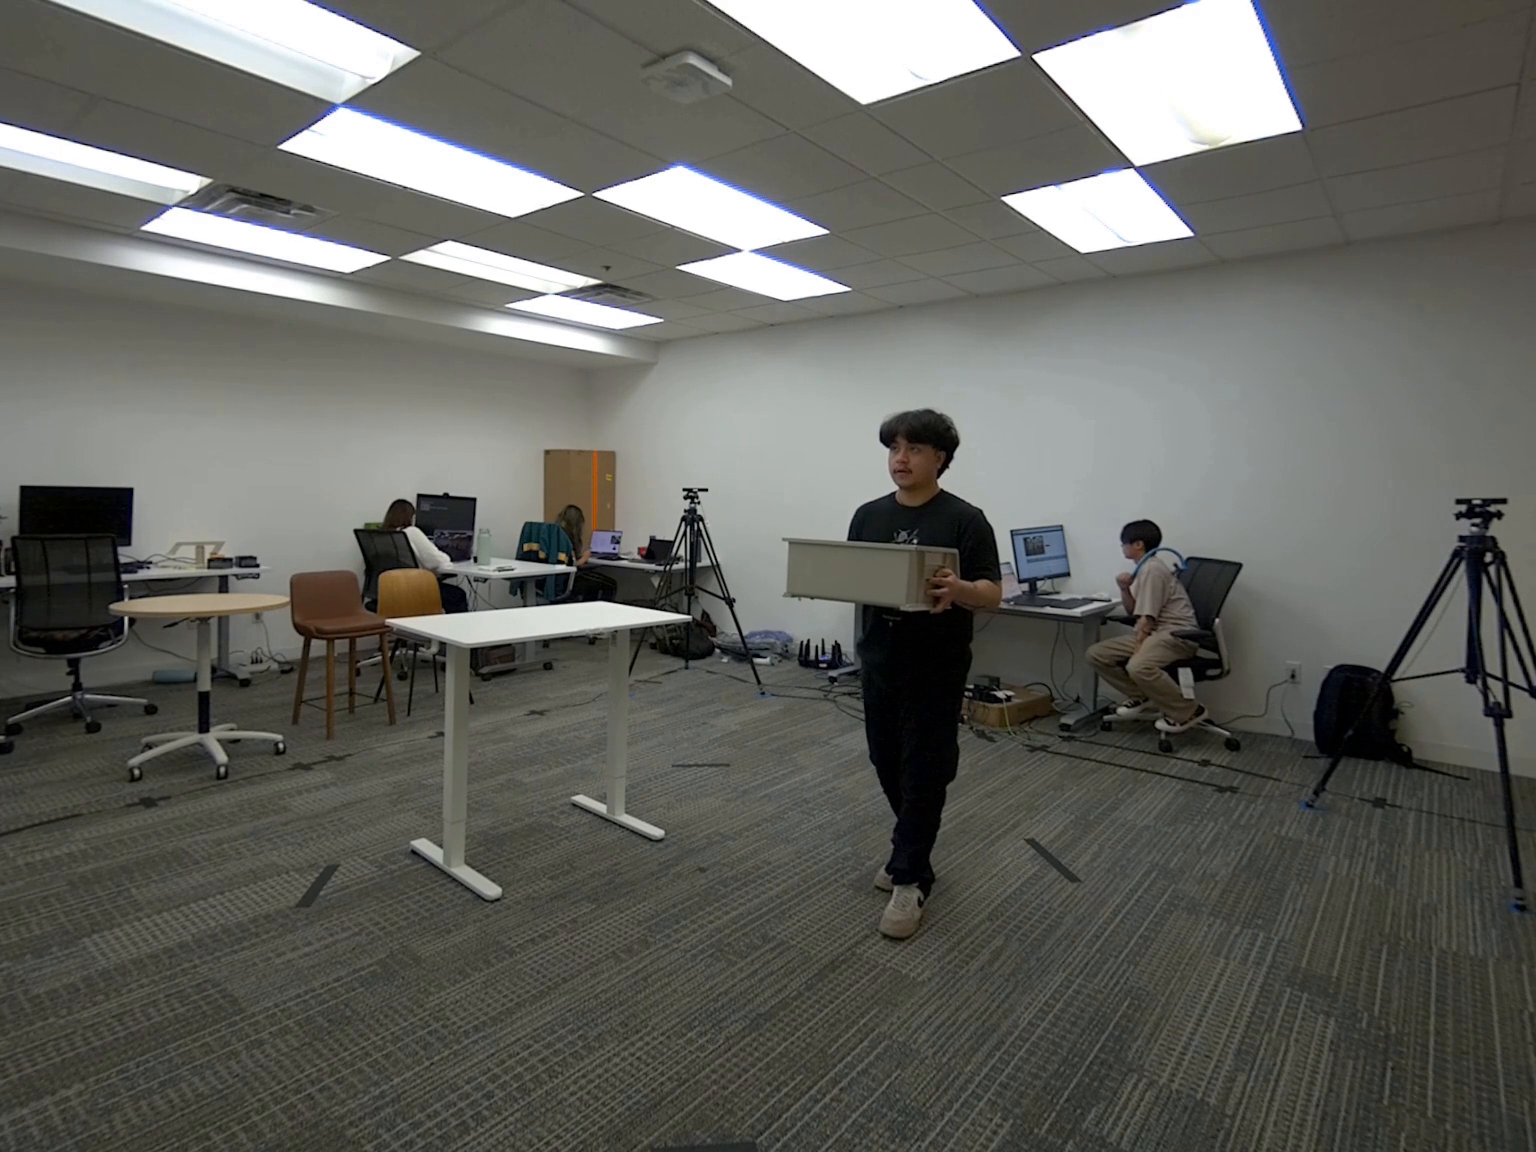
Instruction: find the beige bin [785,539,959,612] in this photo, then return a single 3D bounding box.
[{"bbox_3d":[0.303,-0.014,2.578,0.436,0.189,0.366,6,3,33],"label":"beige bin"}]
